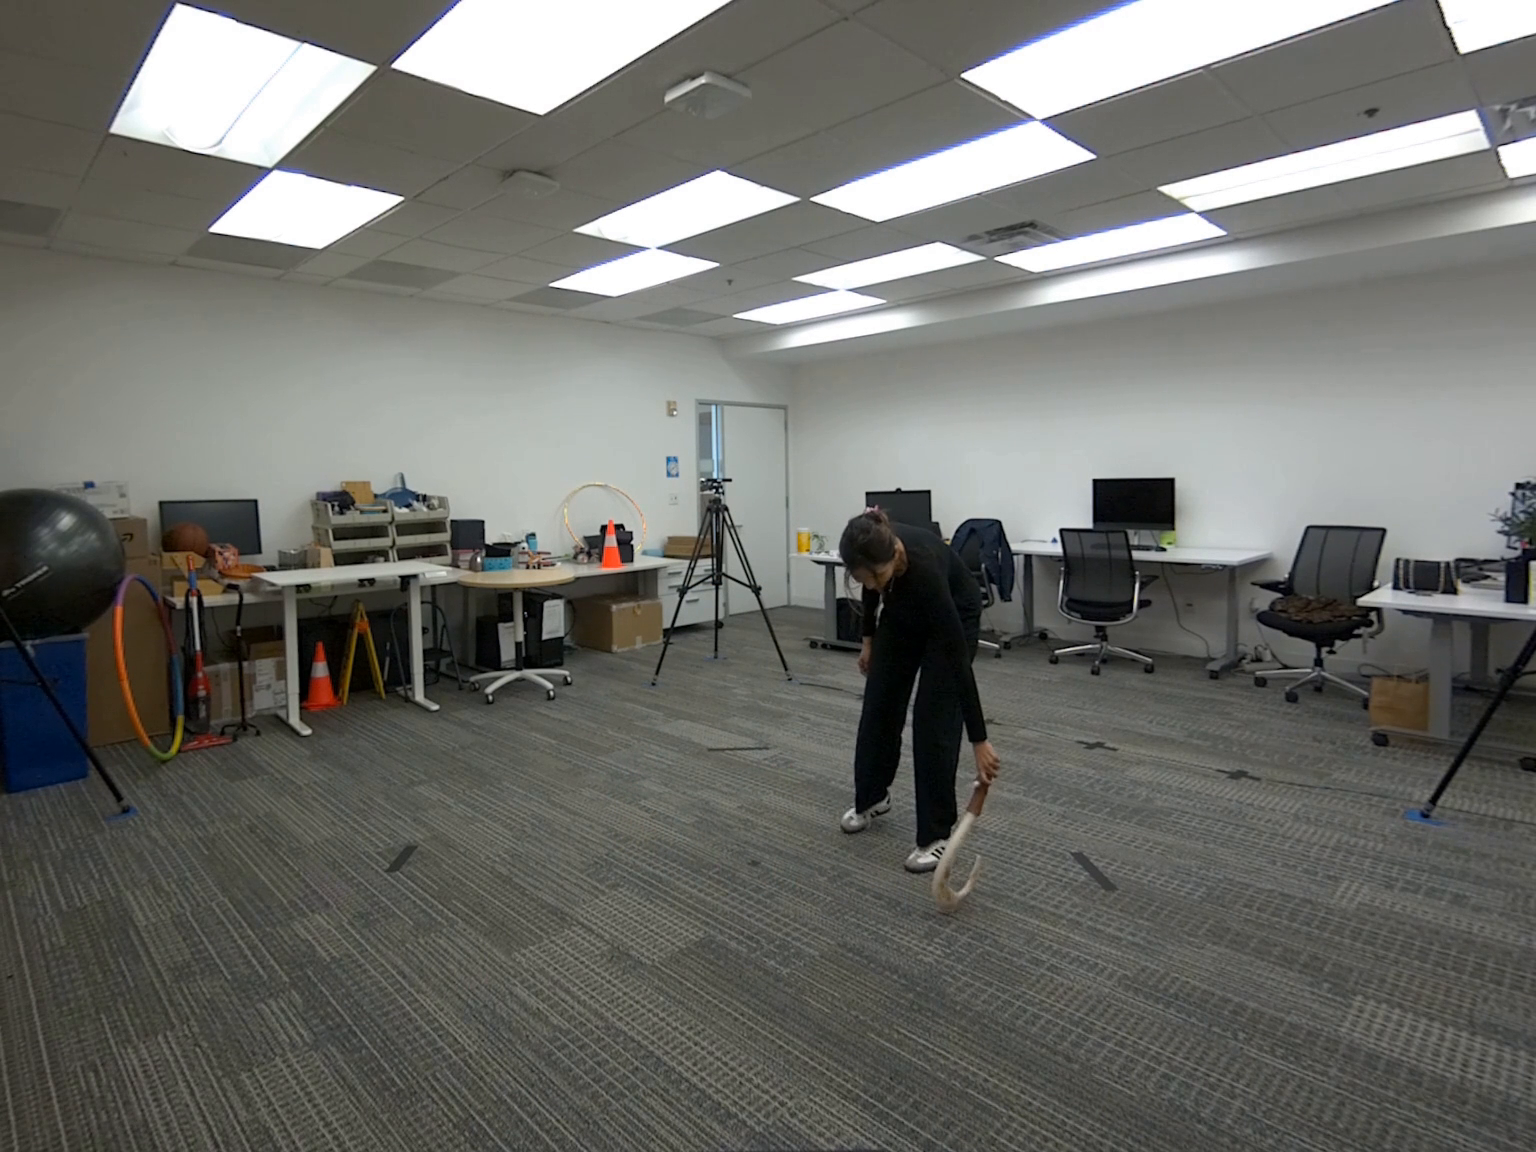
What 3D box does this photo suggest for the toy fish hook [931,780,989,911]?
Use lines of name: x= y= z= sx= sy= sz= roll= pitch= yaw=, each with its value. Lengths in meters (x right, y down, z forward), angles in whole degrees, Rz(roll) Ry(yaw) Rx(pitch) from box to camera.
toy fish hook: x=0.654 y=0.836 z=2.763 sx=0.050 sy=0.509 sz=0.216 roll=12 pitch=-16 yaw=46
